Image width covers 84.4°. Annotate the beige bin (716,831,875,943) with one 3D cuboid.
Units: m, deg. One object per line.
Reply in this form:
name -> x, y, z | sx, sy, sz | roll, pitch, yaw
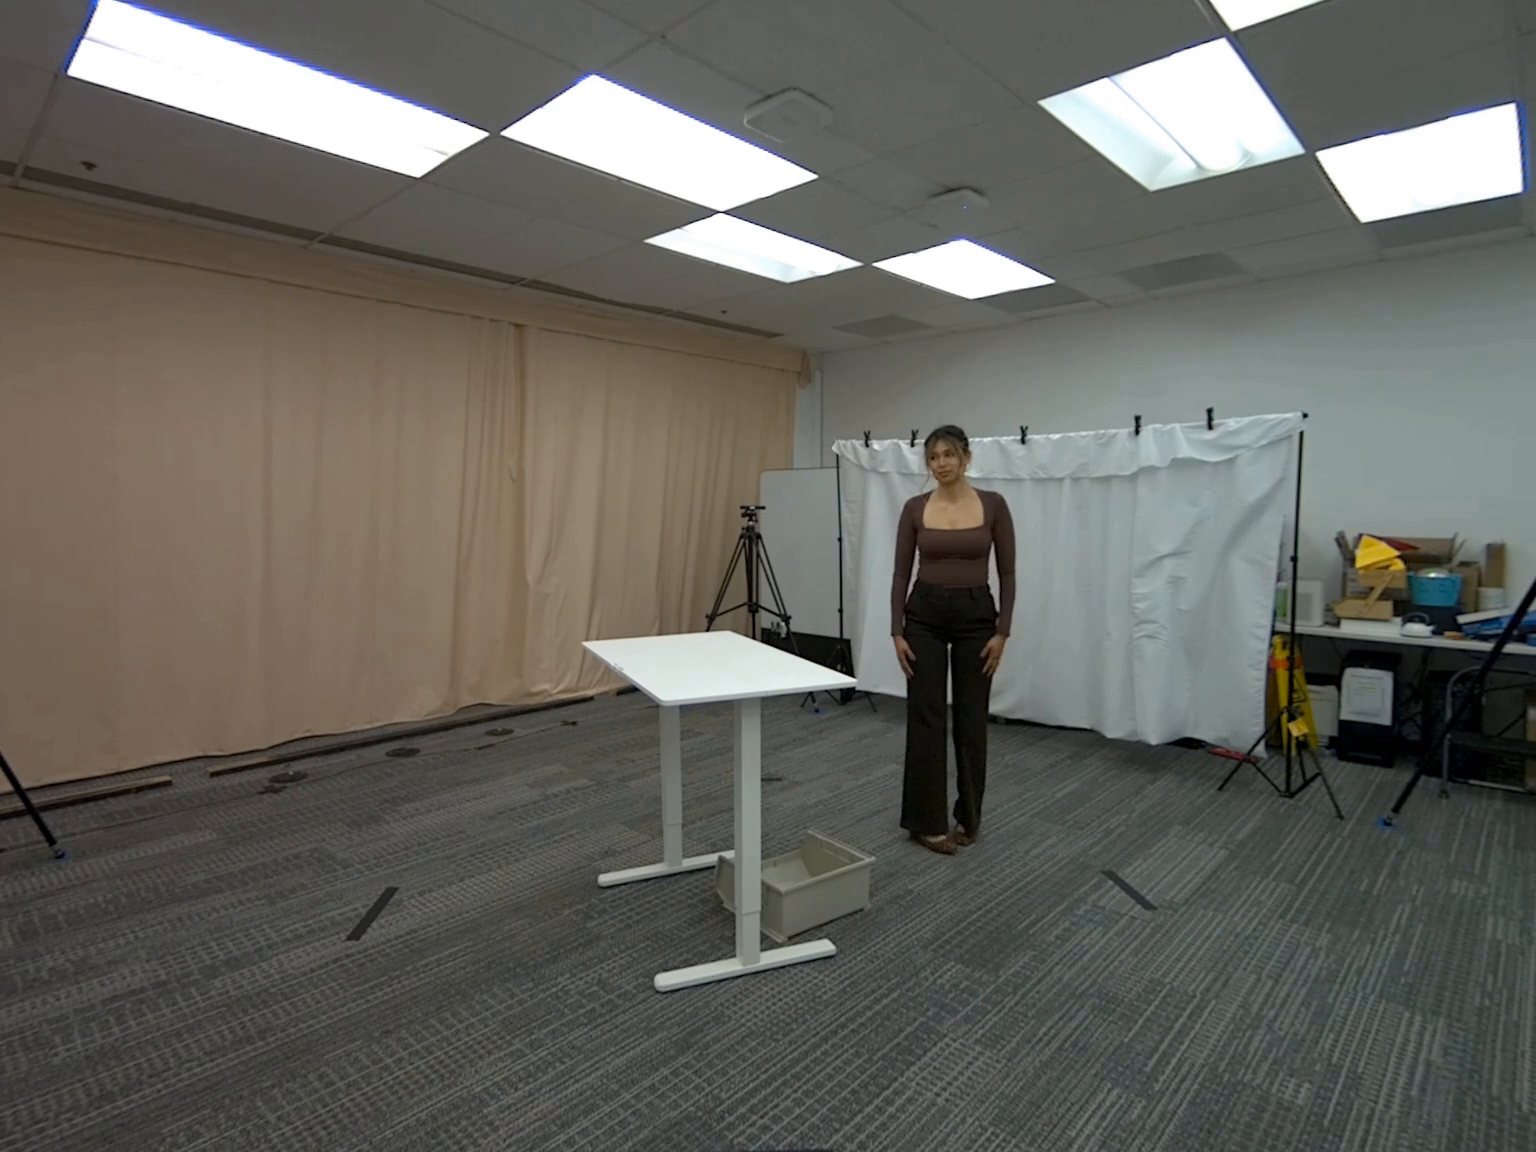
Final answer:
beige bin -> 0.092, 1.062, 2.932 | 0.410, 0.188, 0.390 | -3, 6, -38
